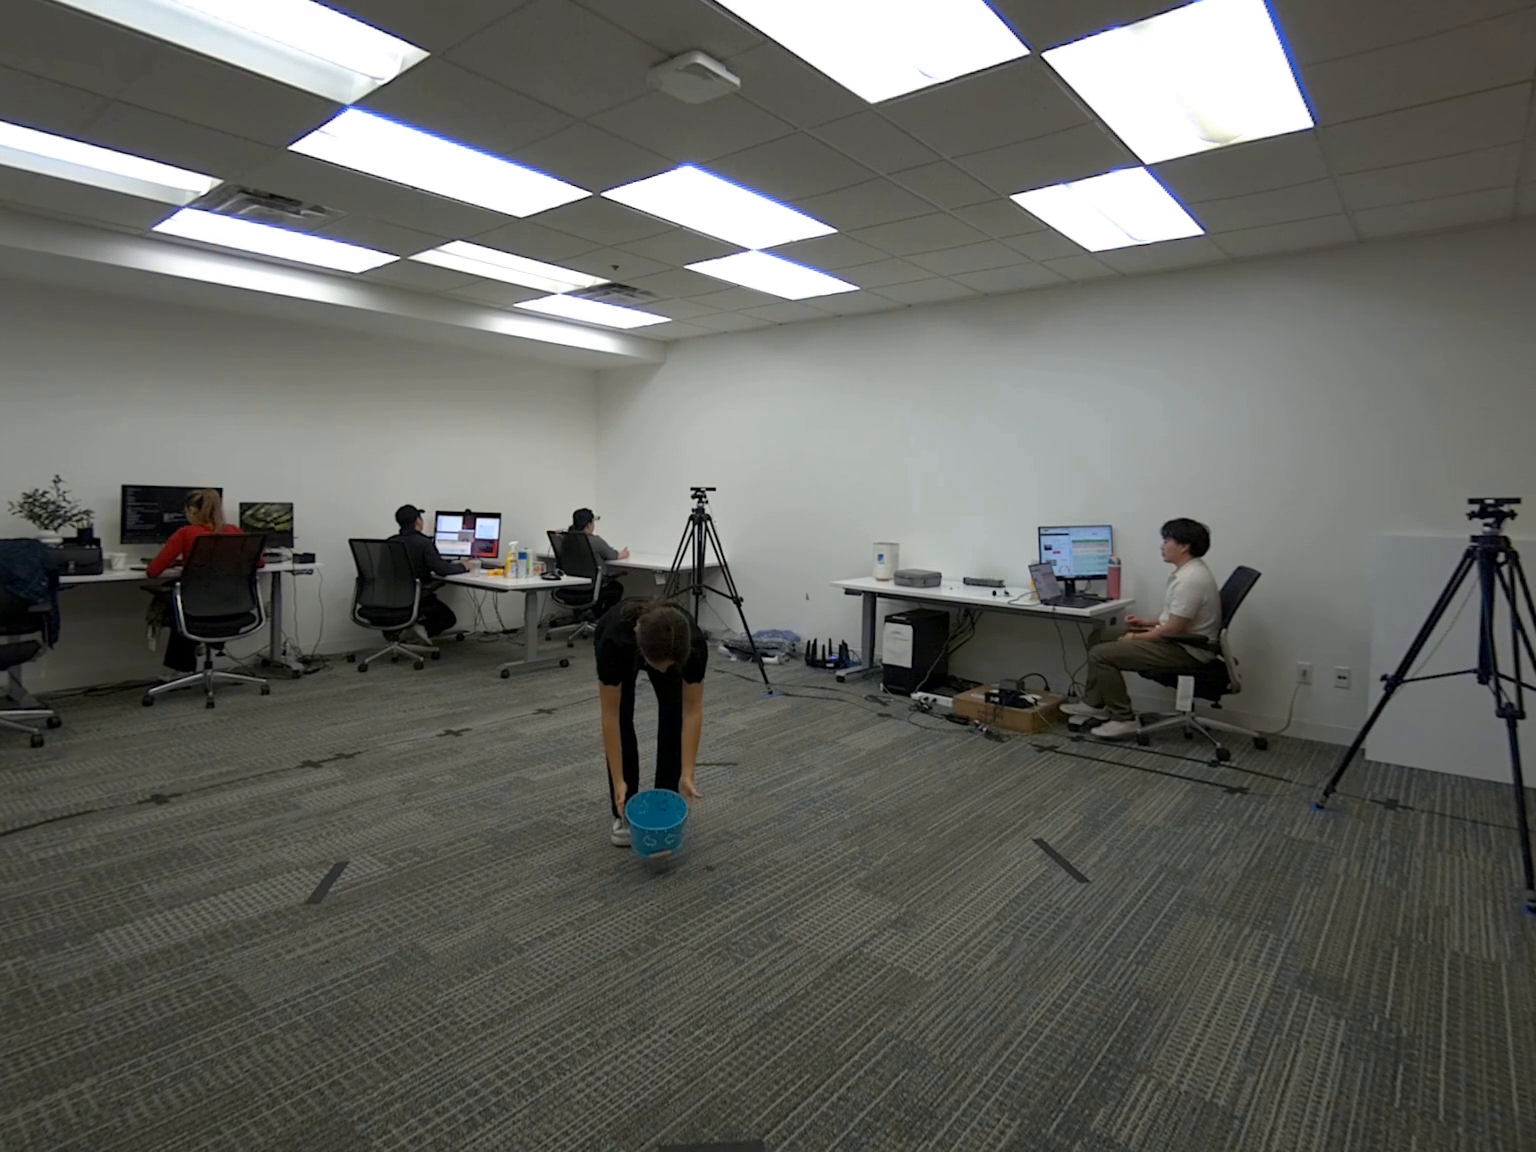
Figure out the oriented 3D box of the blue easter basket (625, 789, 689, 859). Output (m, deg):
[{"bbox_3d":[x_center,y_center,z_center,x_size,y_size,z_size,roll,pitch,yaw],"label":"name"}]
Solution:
[{"bbox_3d":[-0.421,0.904,3.090,0.243,0.153,0.248,0,19,-2],"label":"blue easter basket"}]
